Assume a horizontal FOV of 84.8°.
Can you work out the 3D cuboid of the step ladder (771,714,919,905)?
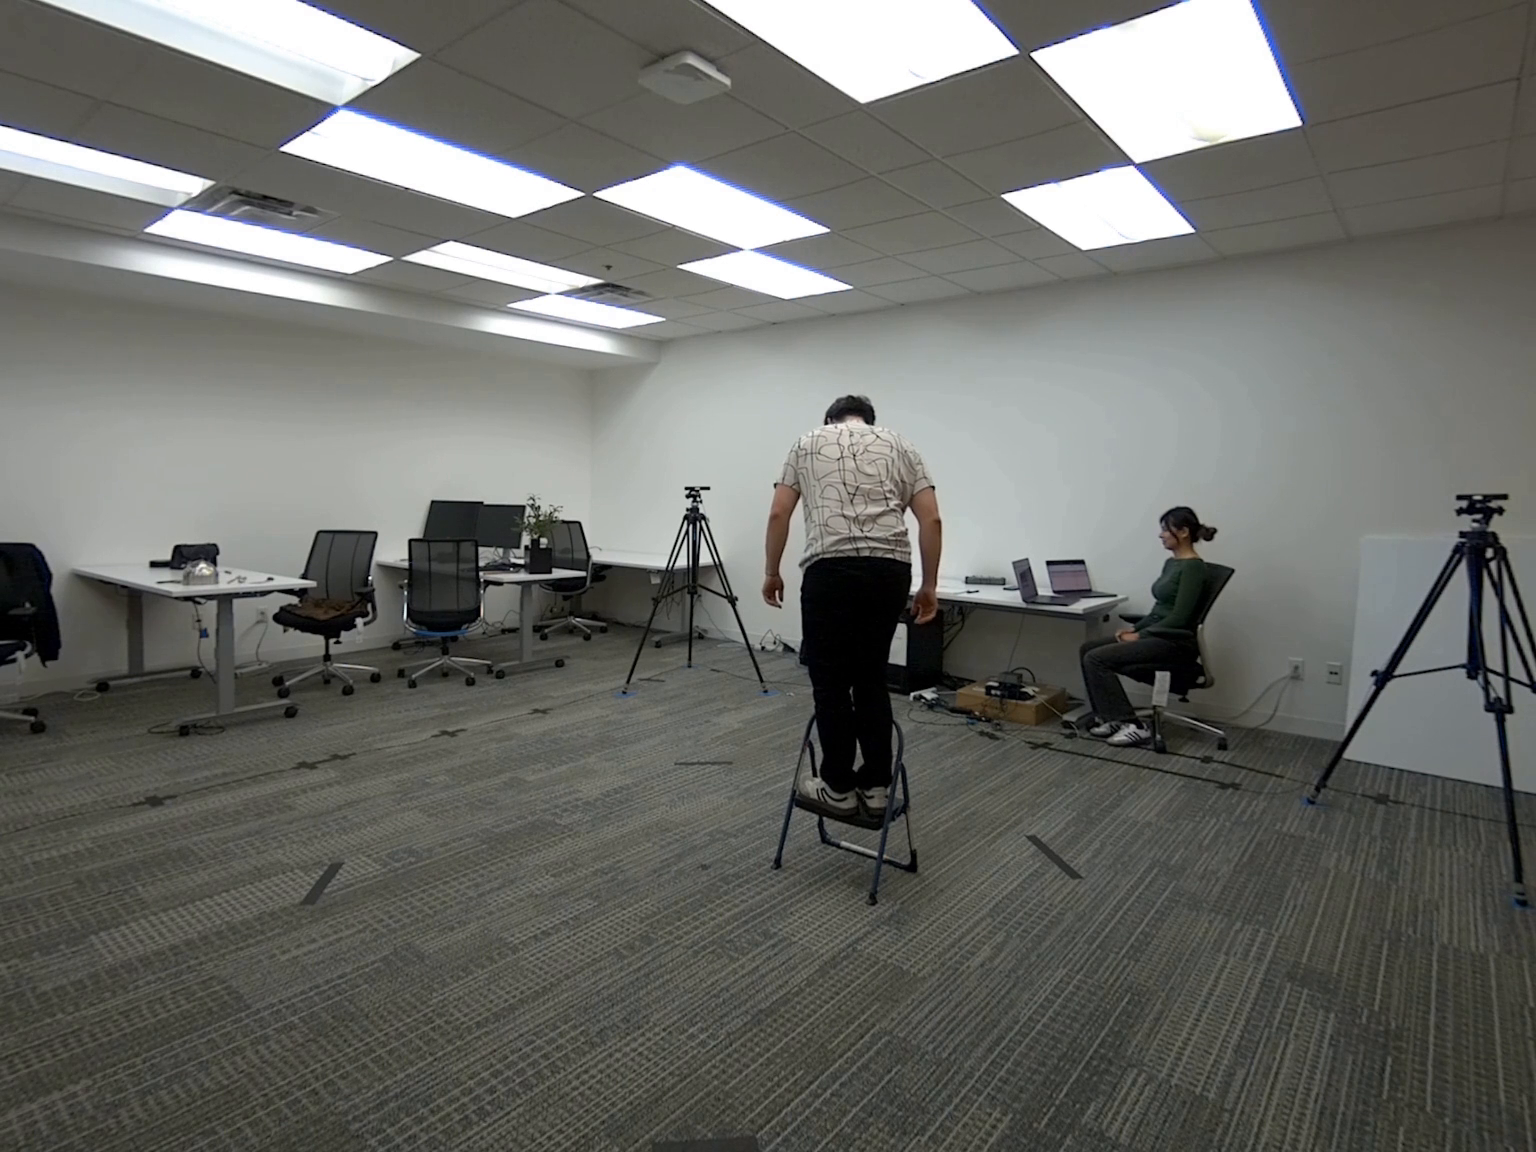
[{"bbox_3d":[0.281,0.769,3.104,0.445,0.604,0.339,4,4,37],"label":"step ladder"}]
